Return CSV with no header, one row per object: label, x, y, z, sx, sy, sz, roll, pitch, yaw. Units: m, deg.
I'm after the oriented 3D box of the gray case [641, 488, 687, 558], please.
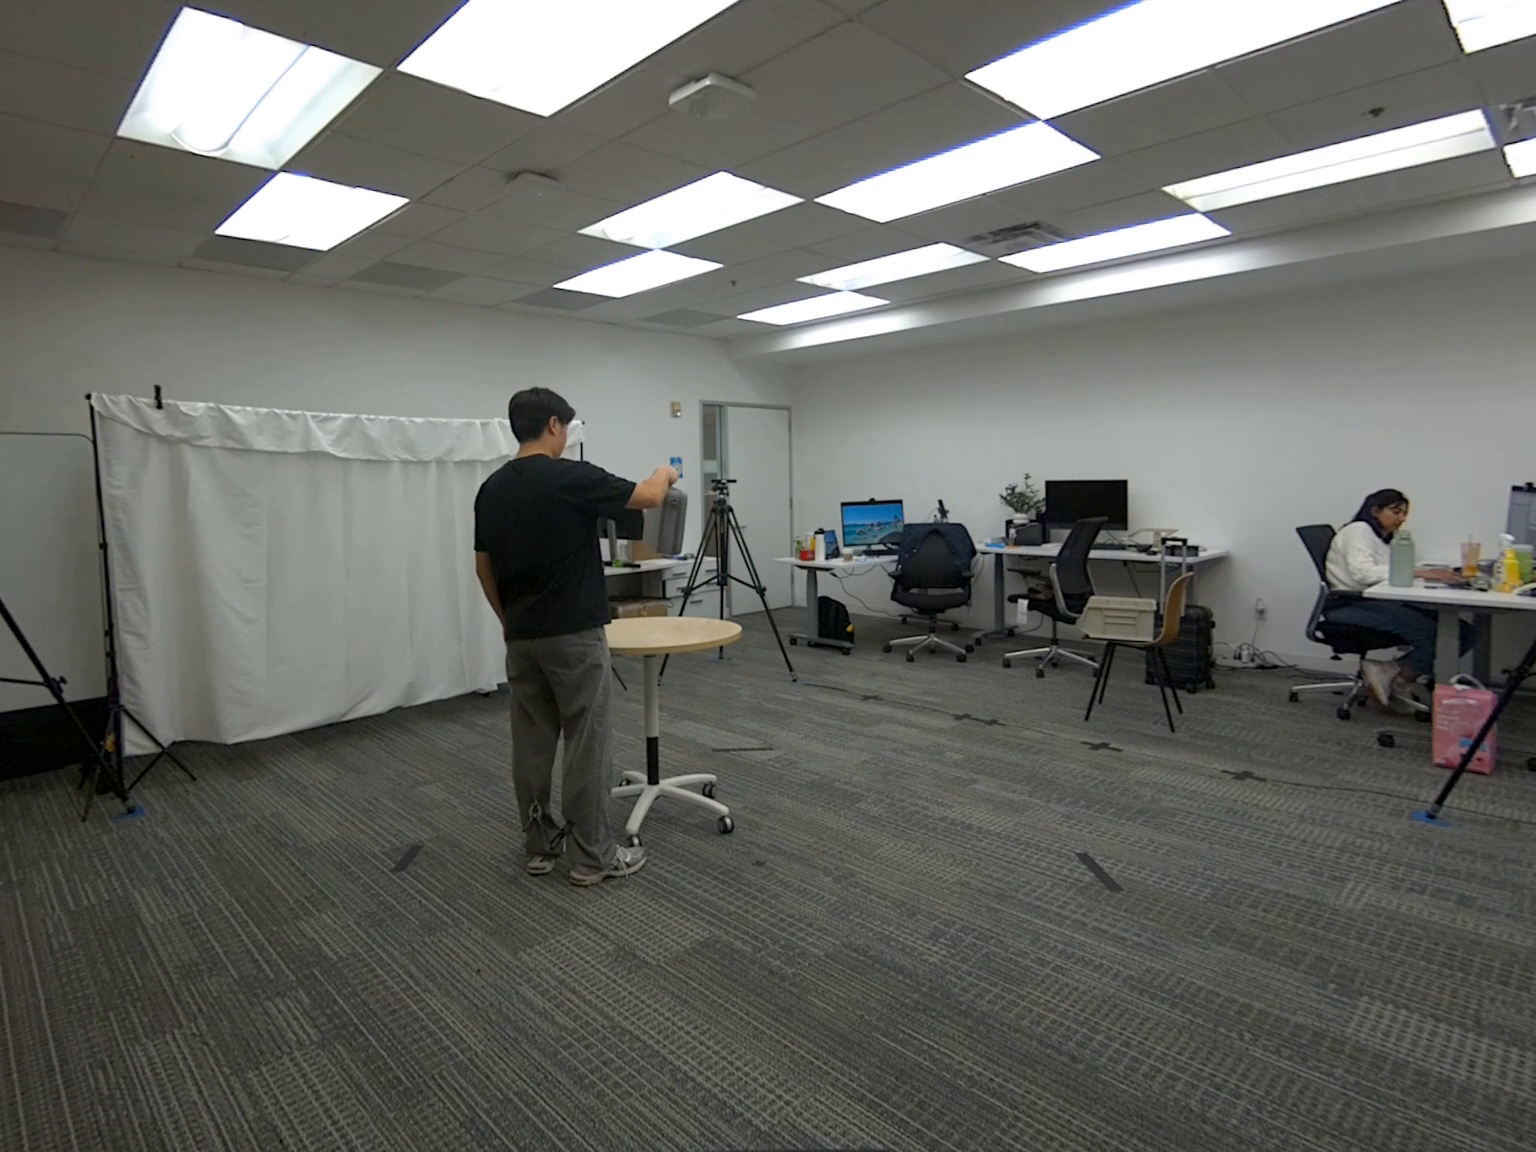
gray case,-0.407,-0.222,3.372,0.101,0.286,0.270,4,8,-22
